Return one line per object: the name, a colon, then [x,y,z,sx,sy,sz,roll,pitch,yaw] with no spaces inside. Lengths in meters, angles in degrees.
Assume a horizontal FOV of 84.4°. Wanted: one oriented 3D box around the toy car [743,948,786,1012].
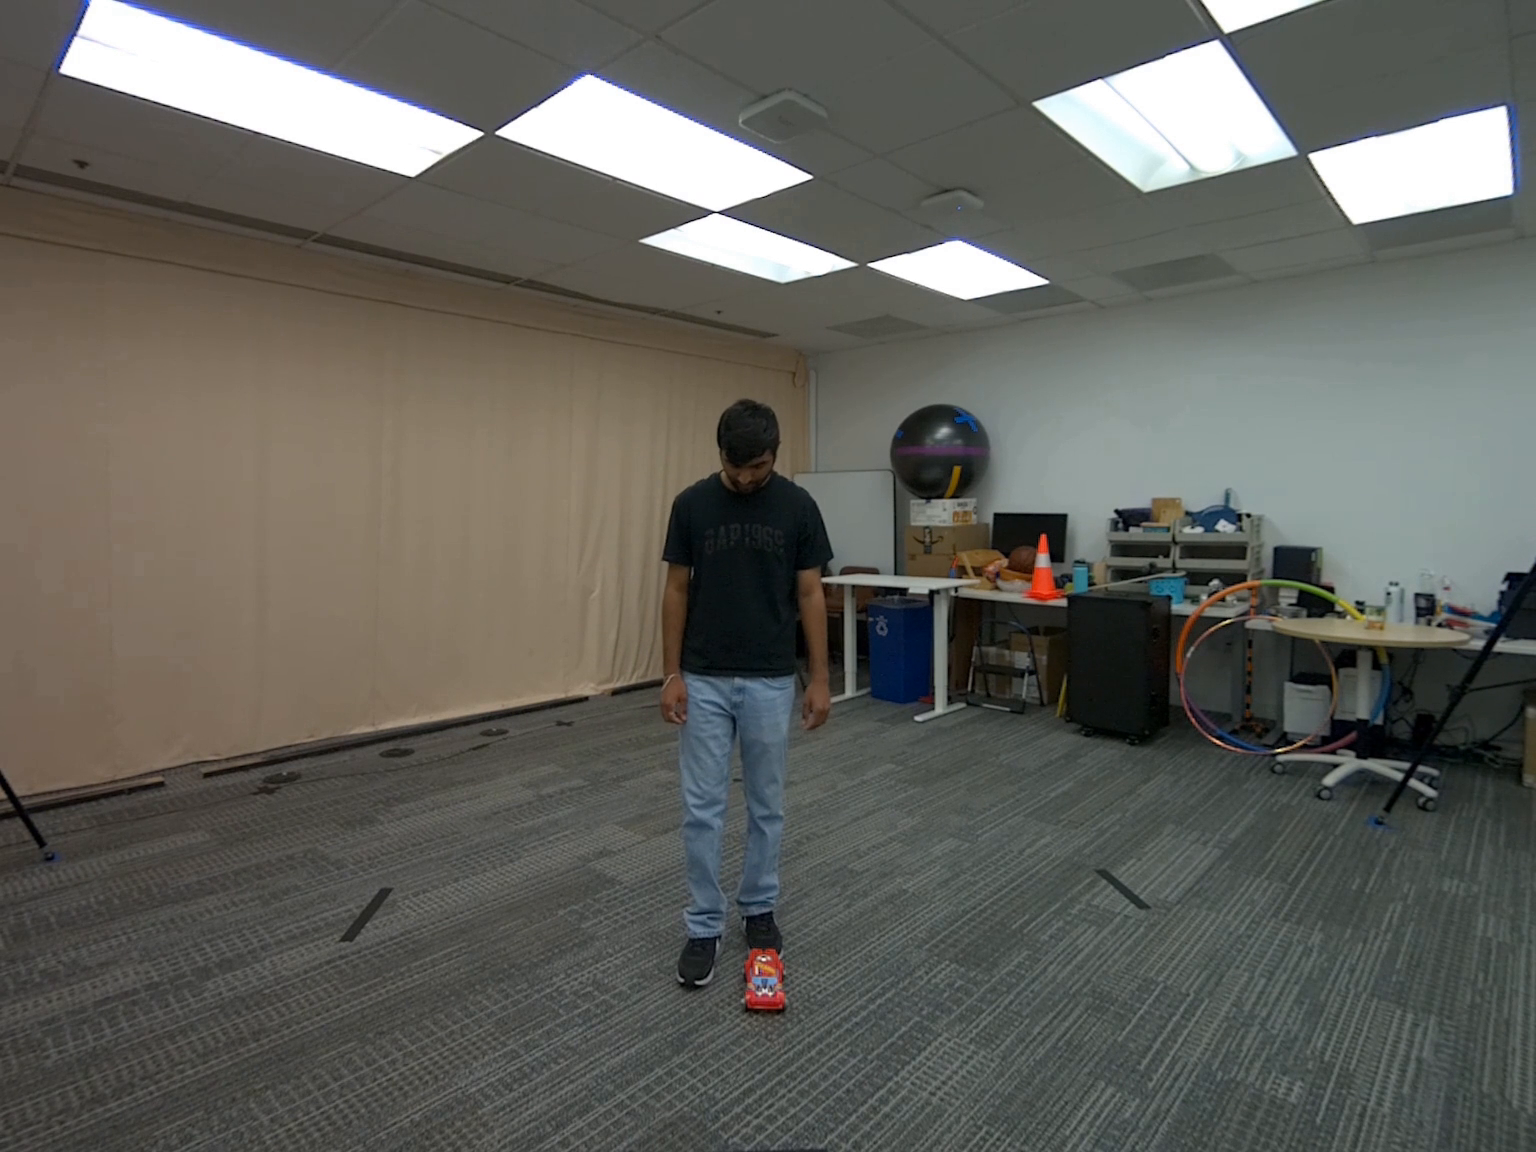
toy car: [-0.012,1.154,2.417,0.130,0.082,0.256,-1,16,1]
